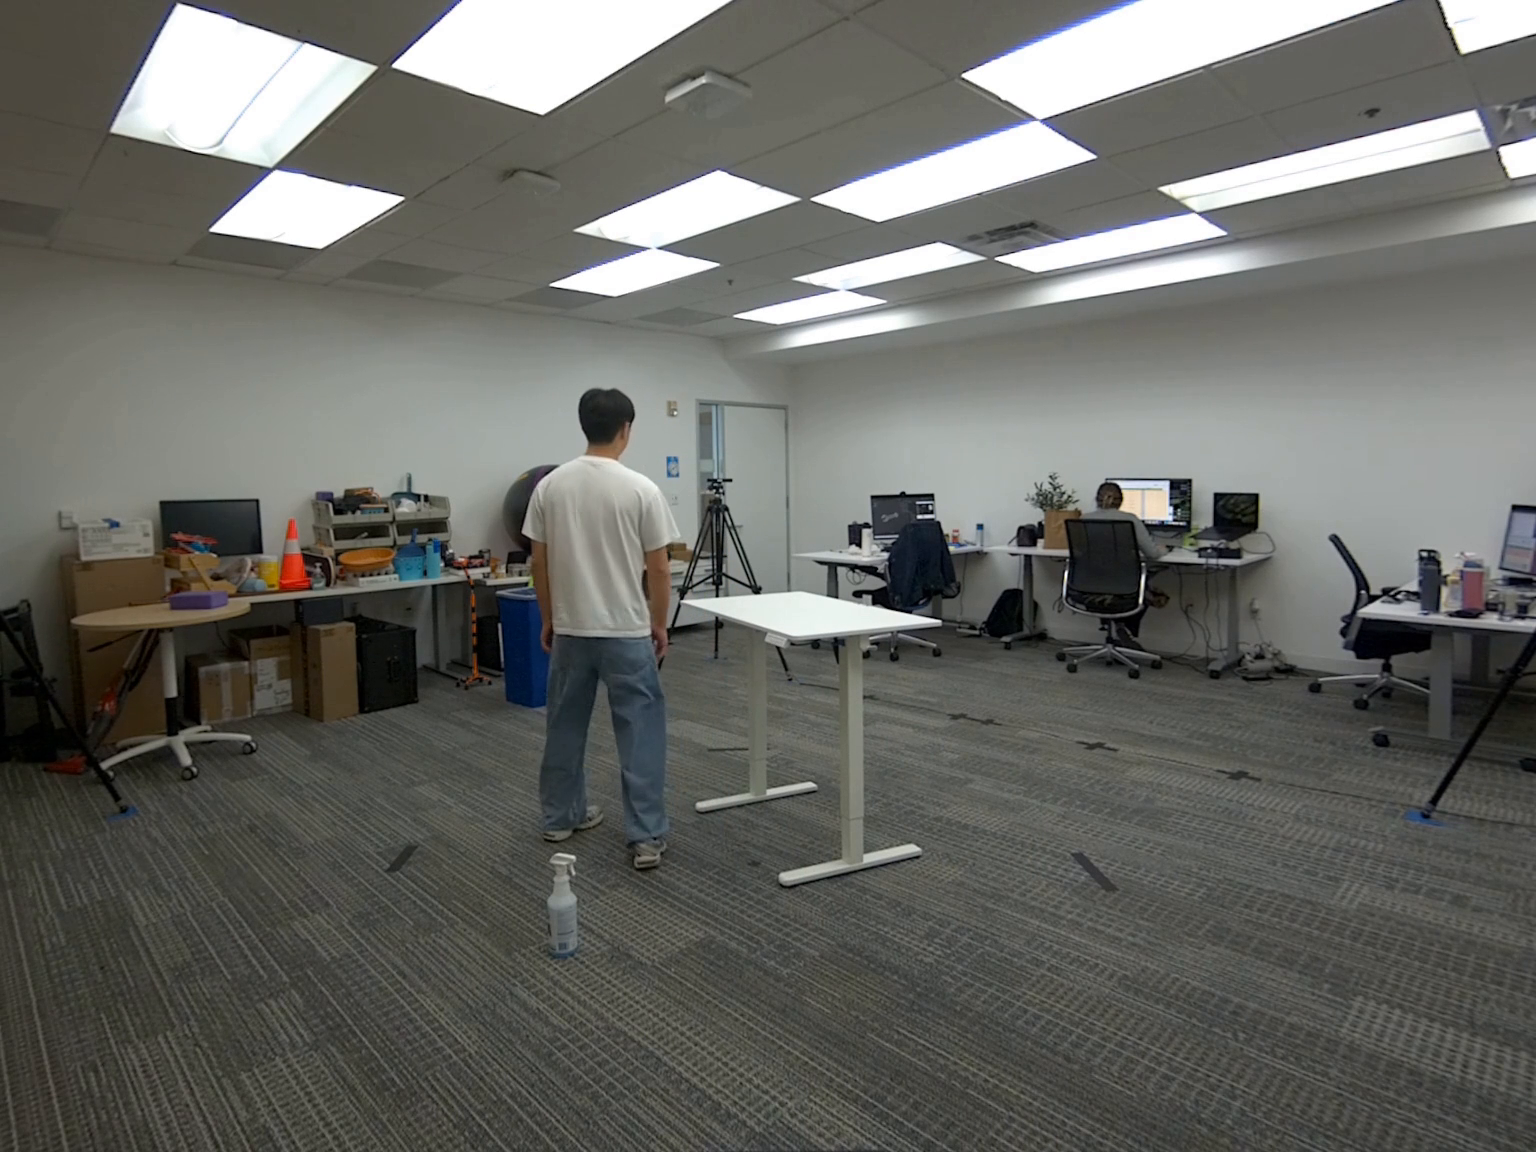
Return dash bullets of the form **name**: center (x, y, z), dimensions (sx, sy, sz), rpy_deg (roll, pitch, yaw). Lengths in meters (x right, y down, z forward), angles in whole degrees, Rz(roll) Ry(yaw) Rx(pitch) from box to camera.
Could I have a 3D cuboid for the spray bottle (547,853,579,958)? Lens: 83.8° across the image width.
- **spray bottle**: center (-0.617, 0.983, 2.545), dimensions (0.085, 0.296, 0.093), rpy_deg (-2, 6, -38)
